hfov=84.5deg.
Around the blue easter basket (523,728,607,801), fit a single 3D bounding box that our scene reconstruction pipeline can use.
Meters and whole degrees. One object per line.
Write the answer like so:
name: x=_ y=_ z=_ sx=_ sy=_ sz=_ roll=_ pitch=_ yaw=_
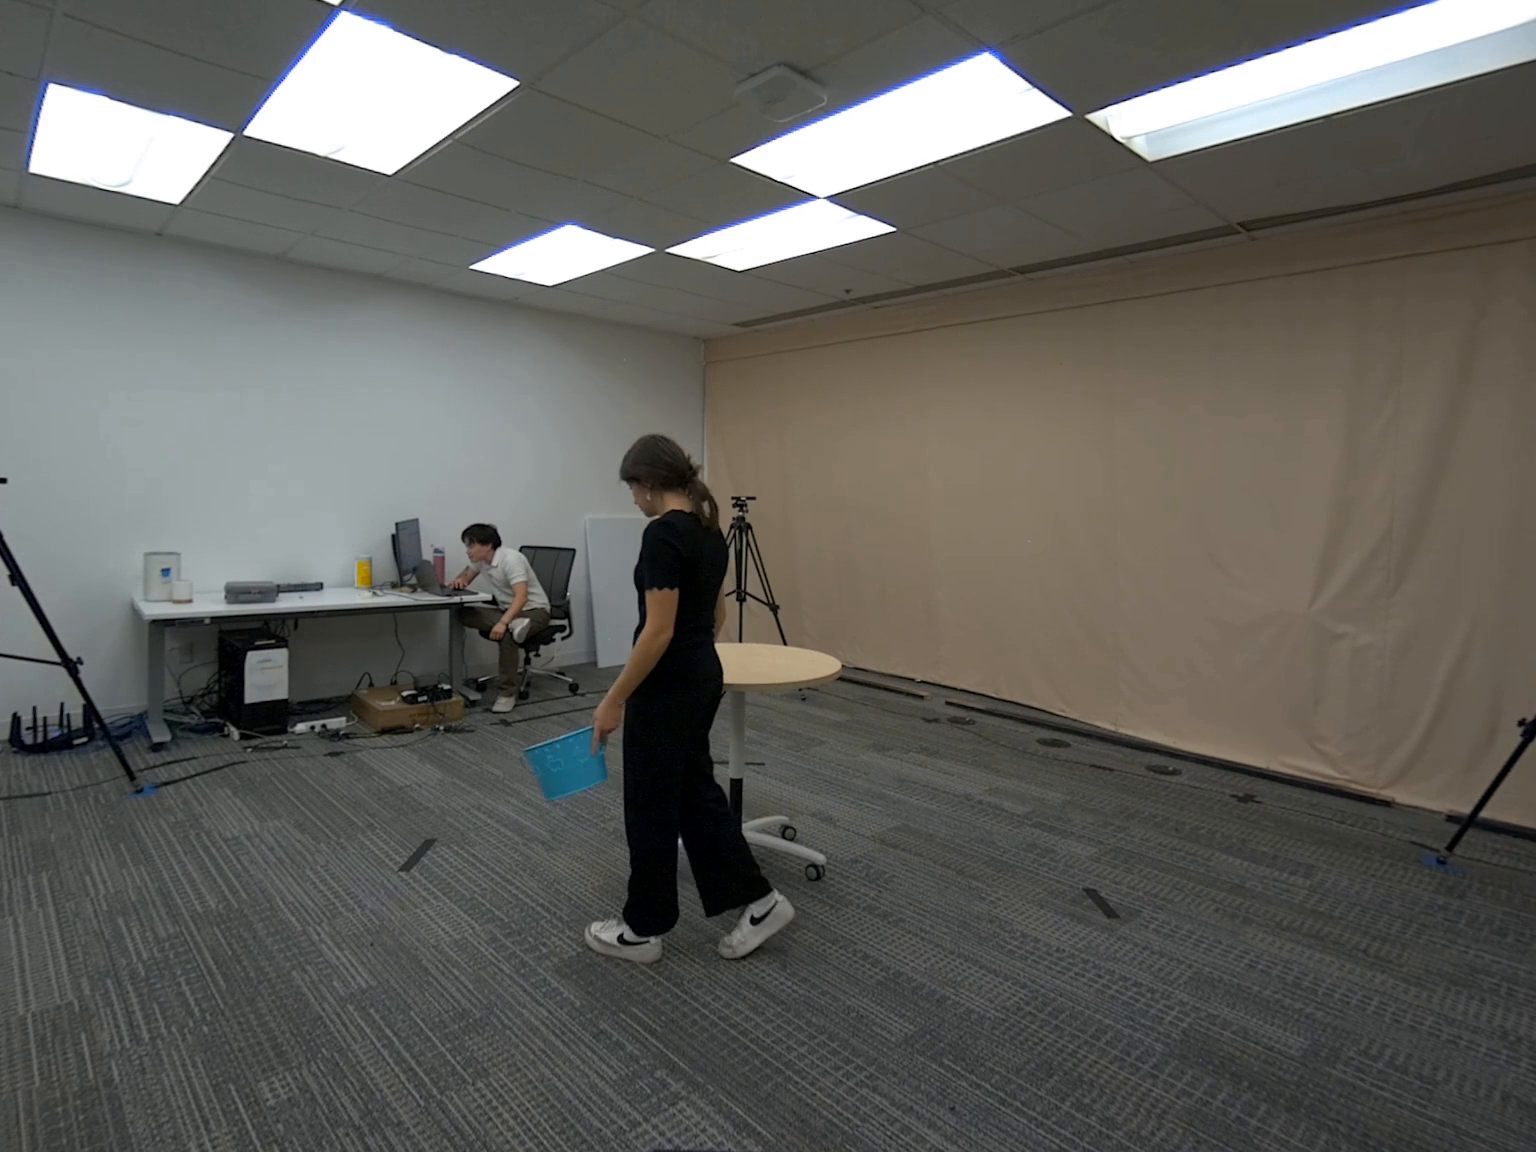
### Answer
blue easter basket: x=-0.568 y=0.522 z=2.374 sx=0.243 sy=0.157 sz=0.242 roll=-15 pitch=-5 yaw=-3
